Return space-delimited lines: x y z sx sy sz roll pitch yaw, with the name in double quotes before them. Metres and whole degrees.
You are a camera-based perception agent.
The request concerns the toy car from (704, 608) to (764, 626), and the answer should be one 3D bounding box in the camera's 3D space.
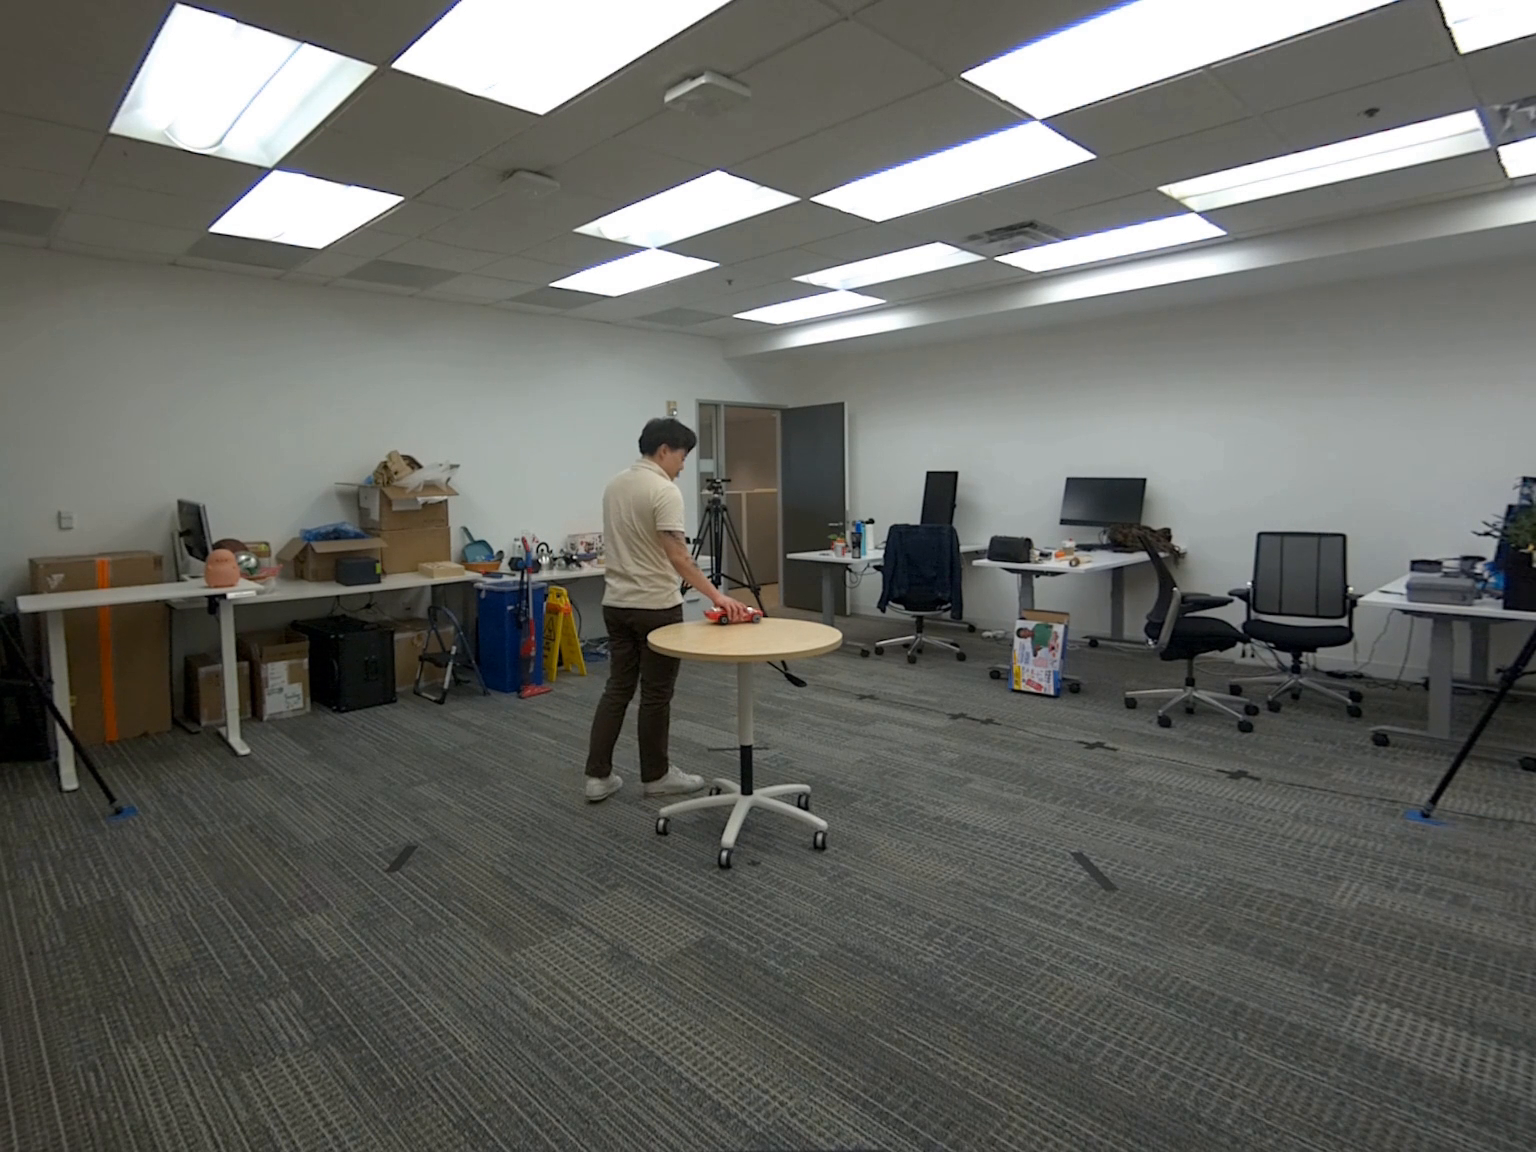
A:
"toy car" -0.159 0.169 3.636 0.250 0.083 0.133 10 1 -18
